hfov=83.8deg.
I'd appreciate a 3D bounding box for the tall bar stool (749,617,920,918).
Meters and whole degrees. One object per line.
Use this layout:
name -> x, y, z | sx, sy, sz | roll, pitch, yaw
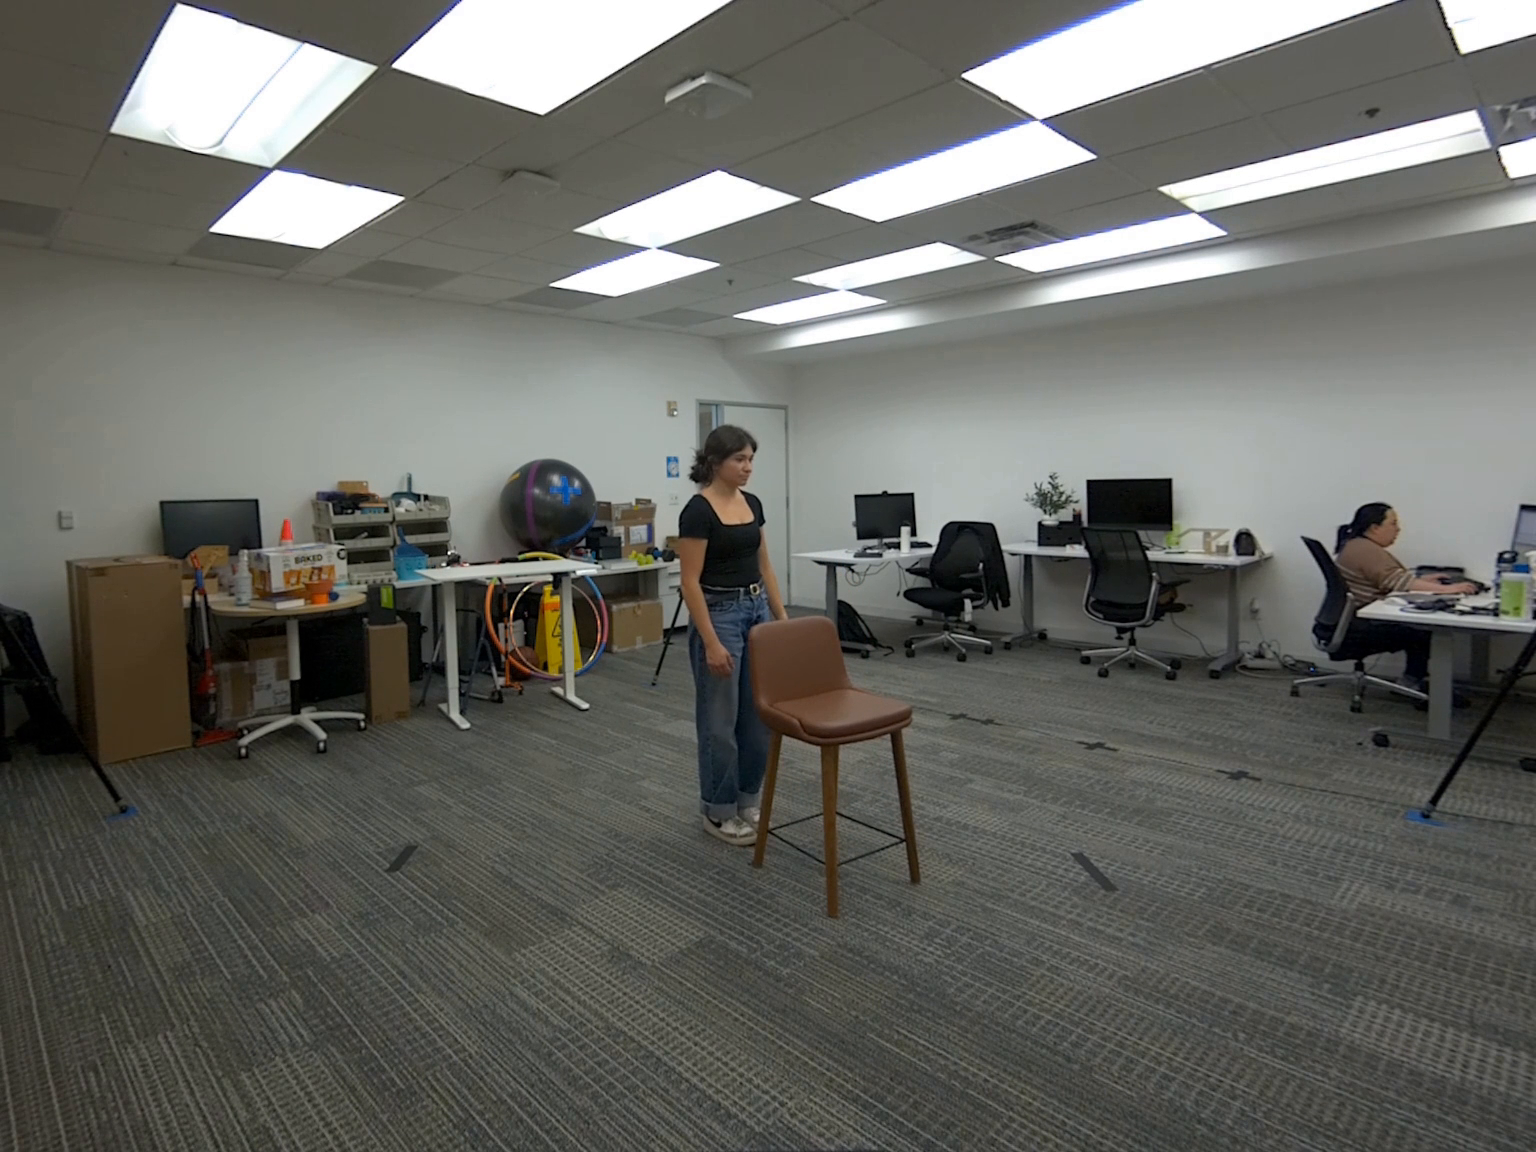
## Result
tall bar stool -> 0.219, 0.620, 2.984 | 0.445, 0.888, 0.481 | -3, 3, -36
